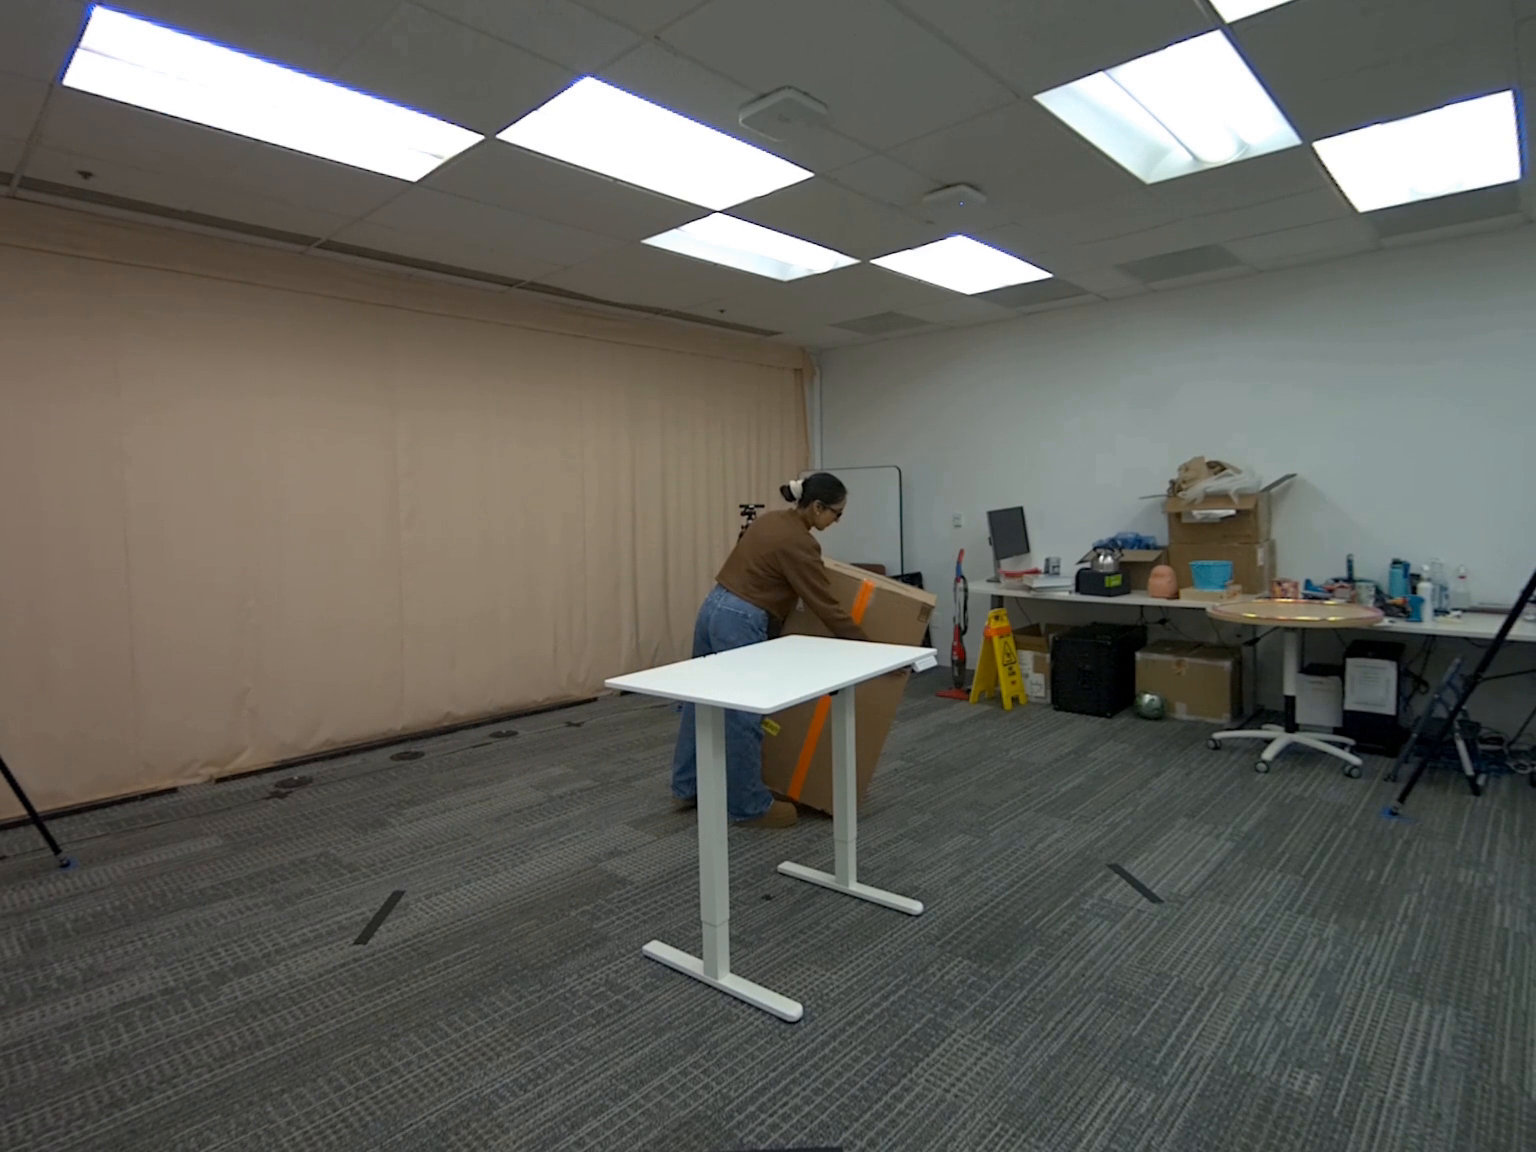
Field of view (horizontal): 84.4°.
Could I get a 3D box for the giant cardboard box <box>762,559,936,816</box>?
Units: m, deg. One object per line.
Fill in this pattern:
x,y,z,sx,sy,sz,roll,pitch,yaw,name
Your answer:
0.319,0.484,3.857,0.586,1.023,0.421,20,9,10,giant cardboard box
